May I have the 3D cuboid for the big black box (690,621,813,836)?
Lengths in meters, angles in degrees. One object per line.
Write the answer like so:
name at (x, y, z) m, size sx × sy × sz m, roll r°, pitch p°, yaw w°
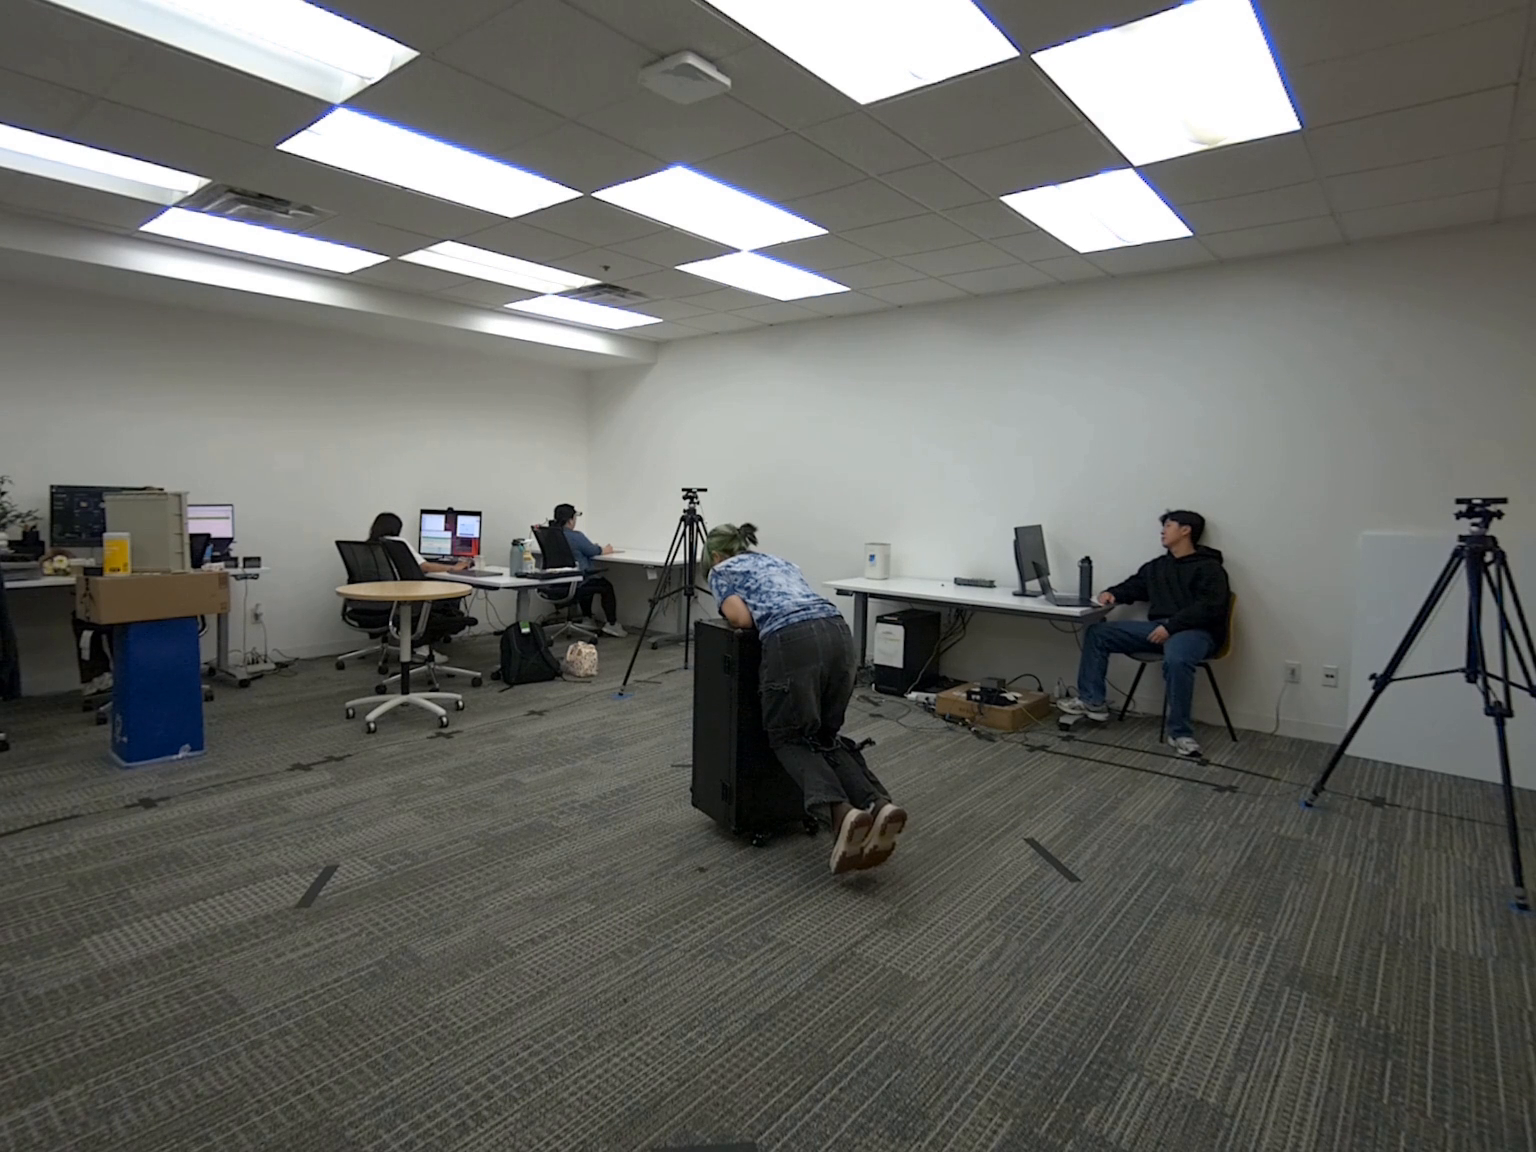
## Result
big black box at (-0.033, 0.557, 3.515) m, size 0.507 × 0.860 × 0.408 m, roll 0°, pitch 3°, yaw -32°
